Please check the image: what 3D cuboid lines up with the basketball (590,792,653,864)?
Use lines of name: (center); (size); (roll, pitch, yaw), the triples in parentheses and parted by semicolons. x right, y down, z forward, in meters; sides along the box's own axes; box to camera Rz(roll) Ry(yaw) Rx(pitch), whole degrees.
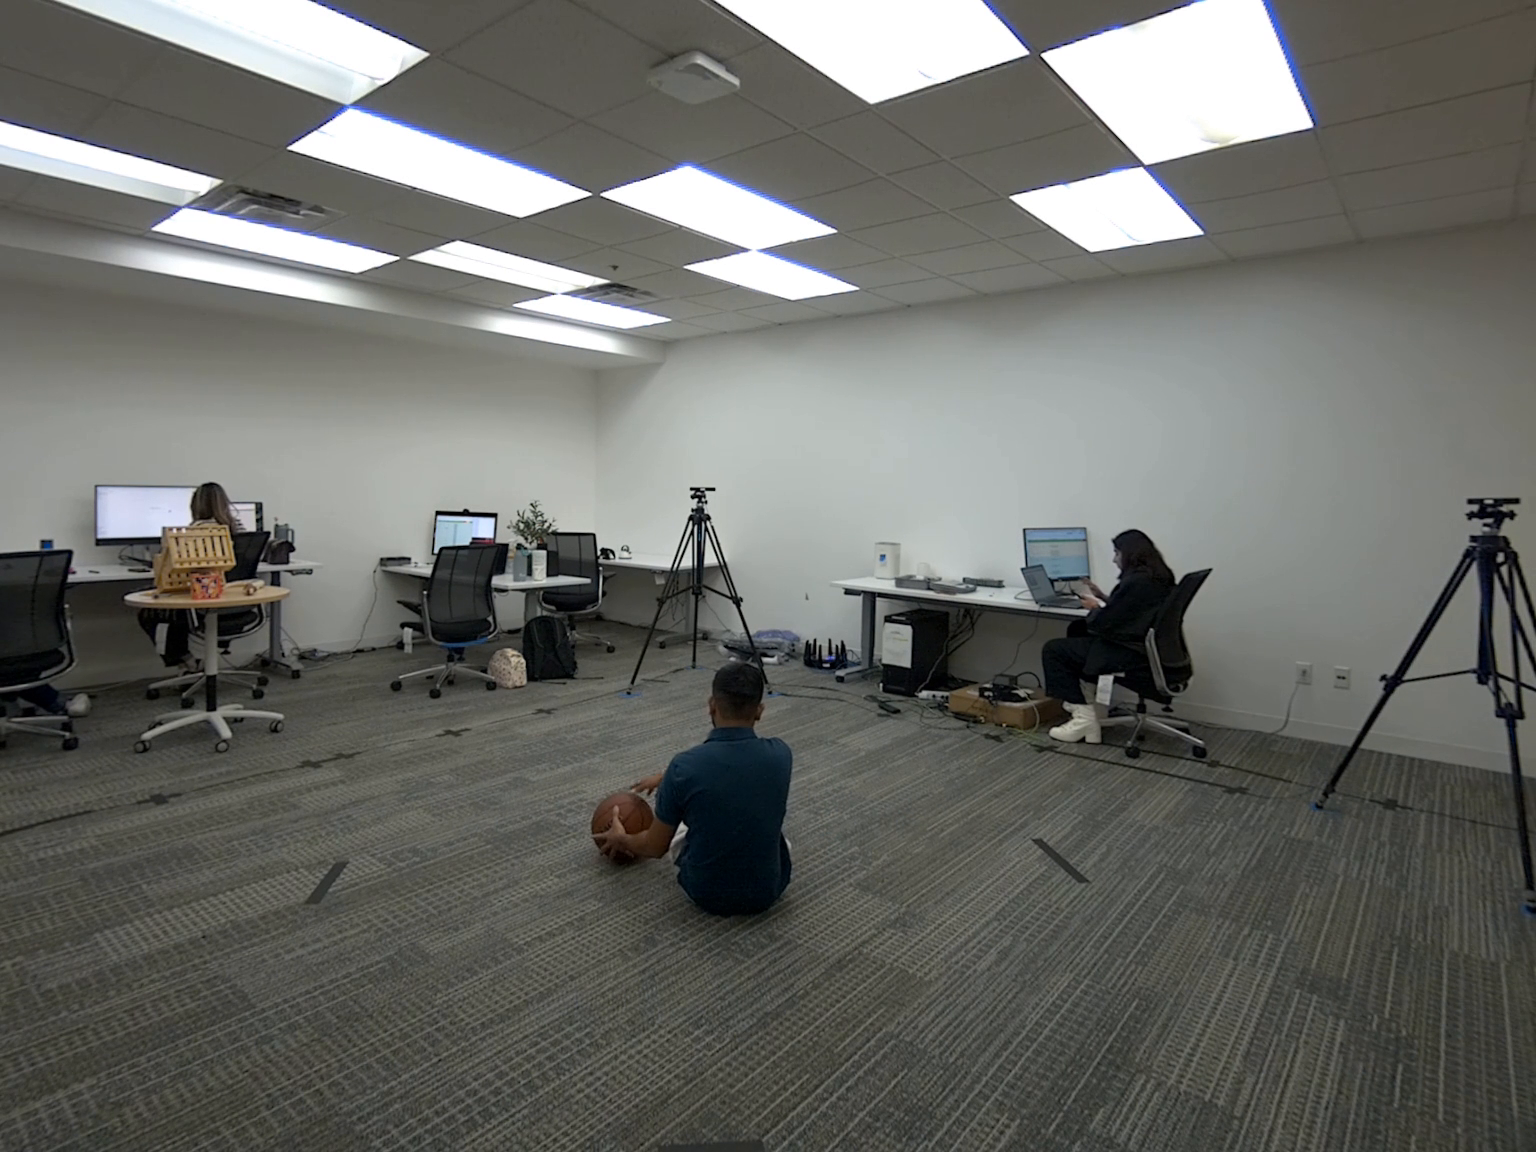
basketball: (-0.559, 0.927, 3.203); (0.235, 0.235, 0.237); (1, 4, -2)
